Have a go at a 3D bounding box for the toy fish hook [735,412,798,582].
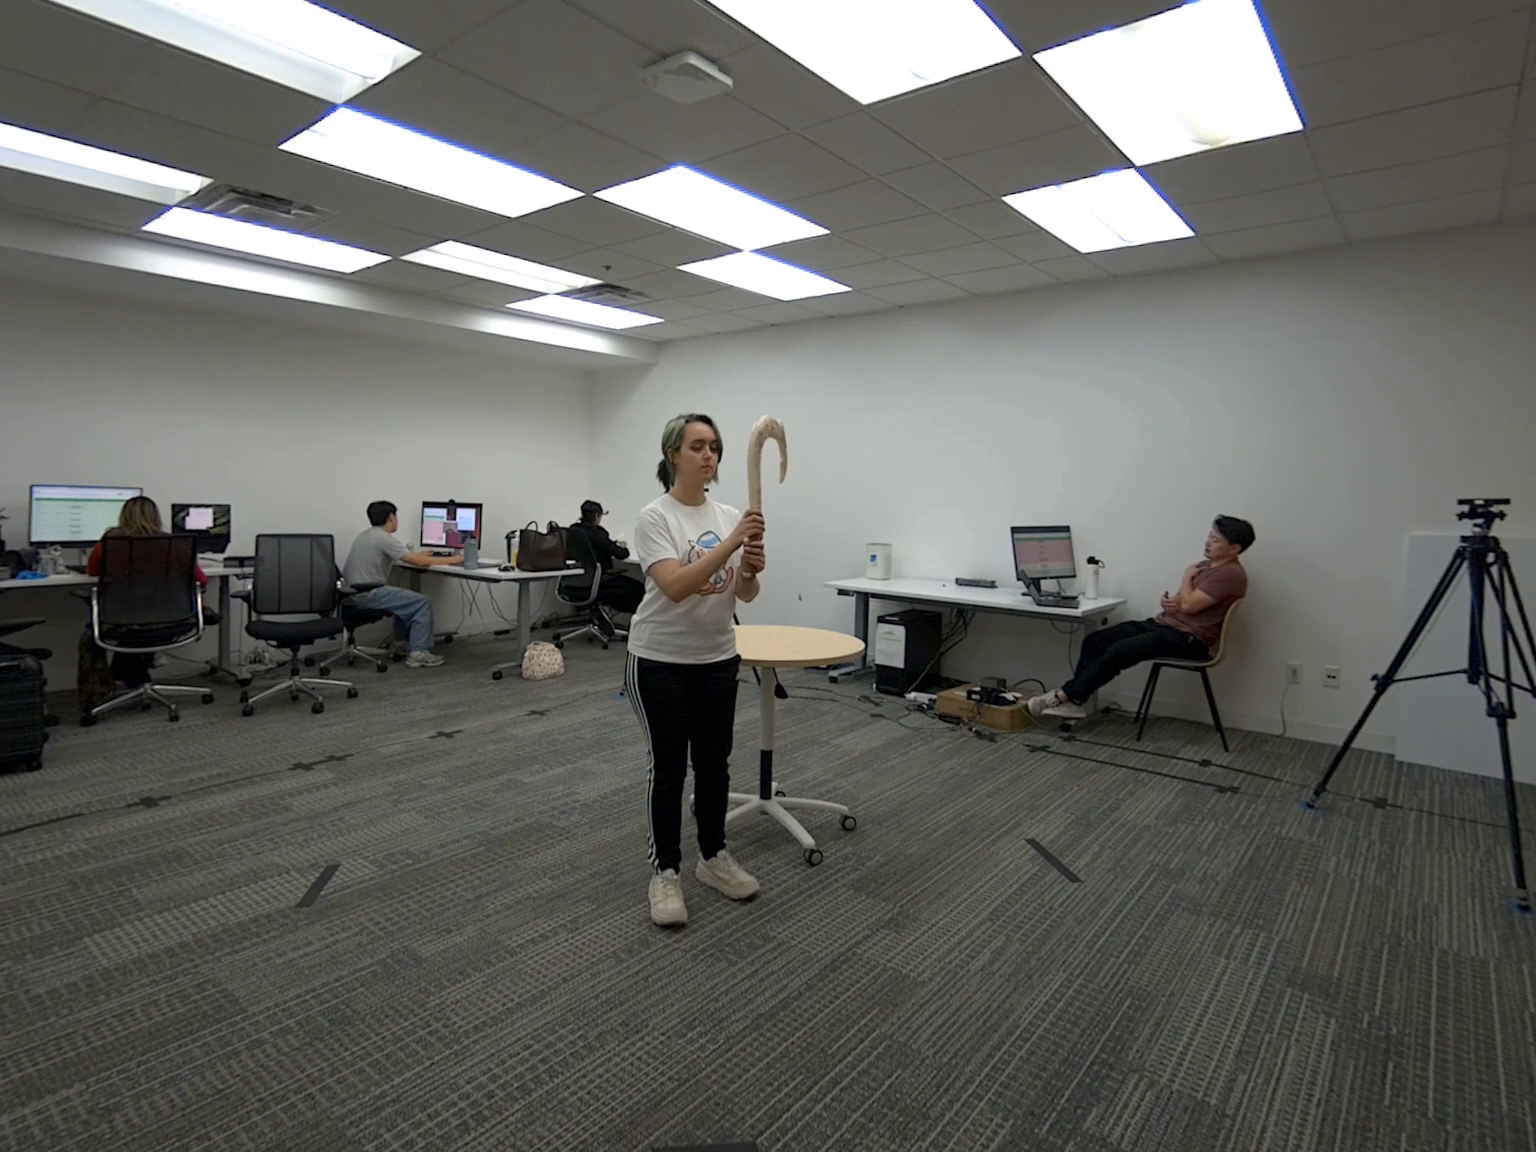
[{"bbox_3d":[-0.015,-0.244,2.643,0.050,0.507,0.217,5,-2,35],"label":"toy fish hook"}]
